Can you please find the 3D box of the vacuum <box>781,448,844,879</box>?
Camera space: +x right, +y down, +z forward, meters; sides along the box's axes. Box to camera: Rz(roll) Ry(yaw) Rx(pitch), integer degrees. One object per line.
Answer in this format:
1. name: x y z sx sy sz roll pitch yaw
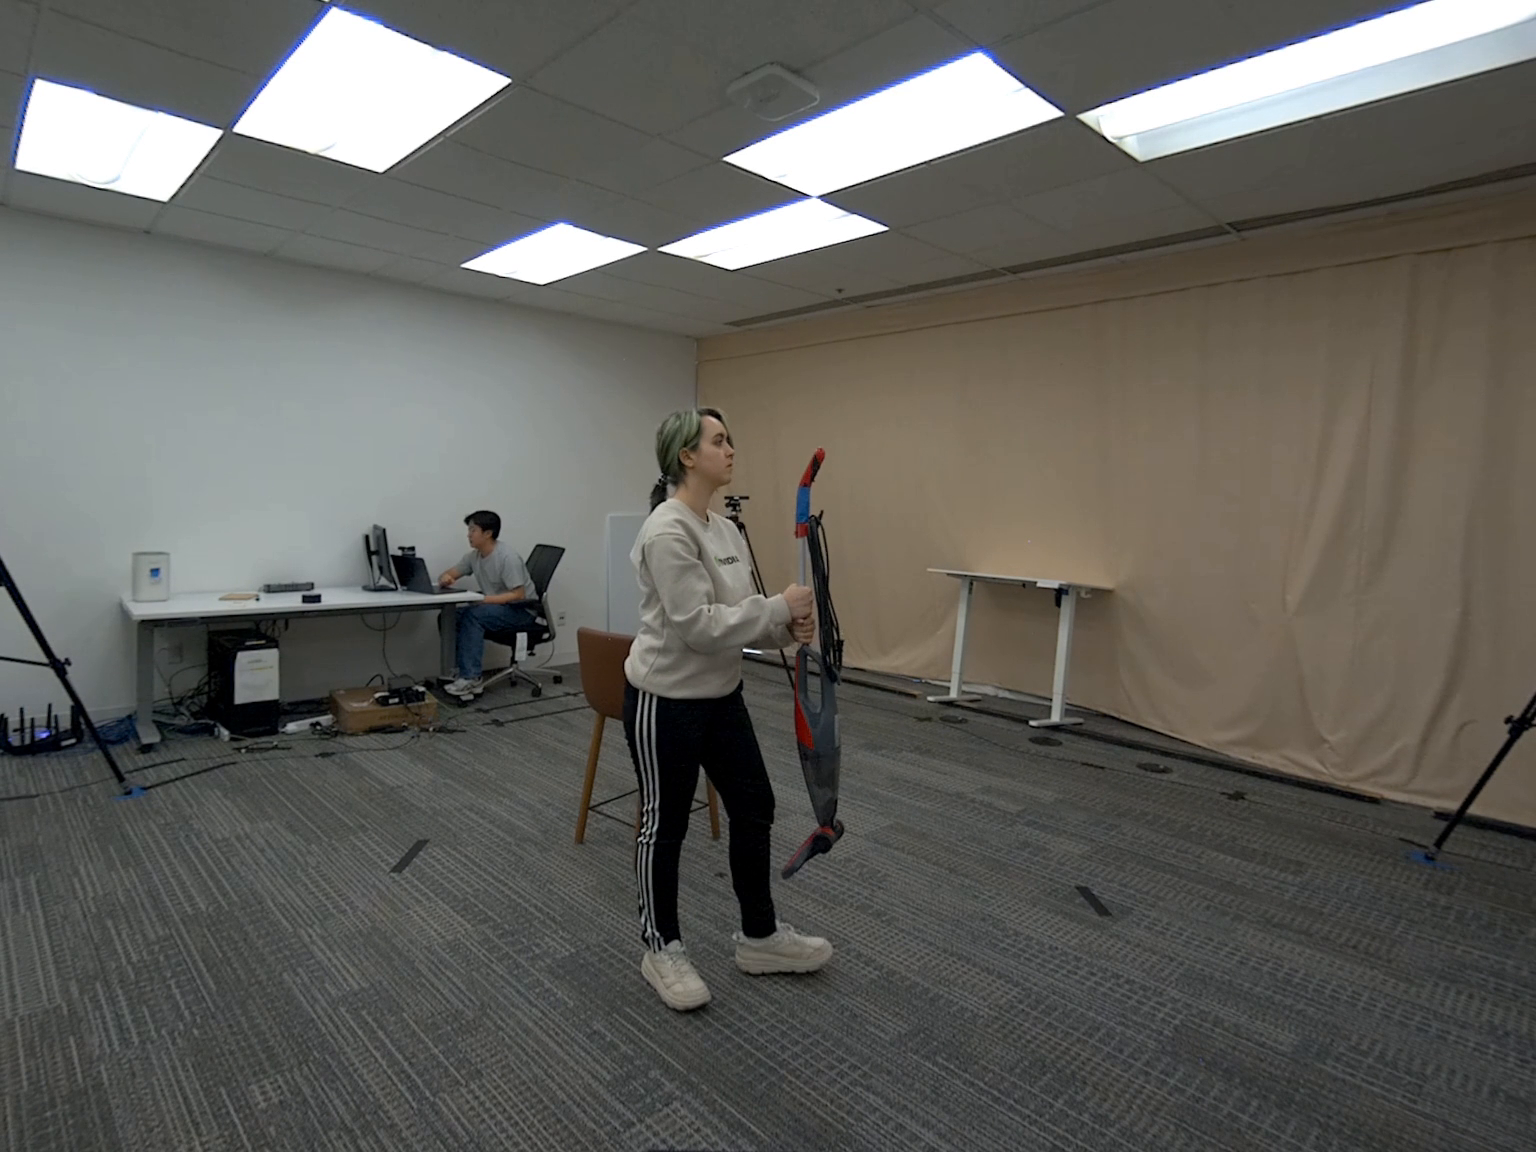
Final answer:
1. vacuum: 0.136 0.199 2.223 0.147 1.049 0.248 2 1 25
